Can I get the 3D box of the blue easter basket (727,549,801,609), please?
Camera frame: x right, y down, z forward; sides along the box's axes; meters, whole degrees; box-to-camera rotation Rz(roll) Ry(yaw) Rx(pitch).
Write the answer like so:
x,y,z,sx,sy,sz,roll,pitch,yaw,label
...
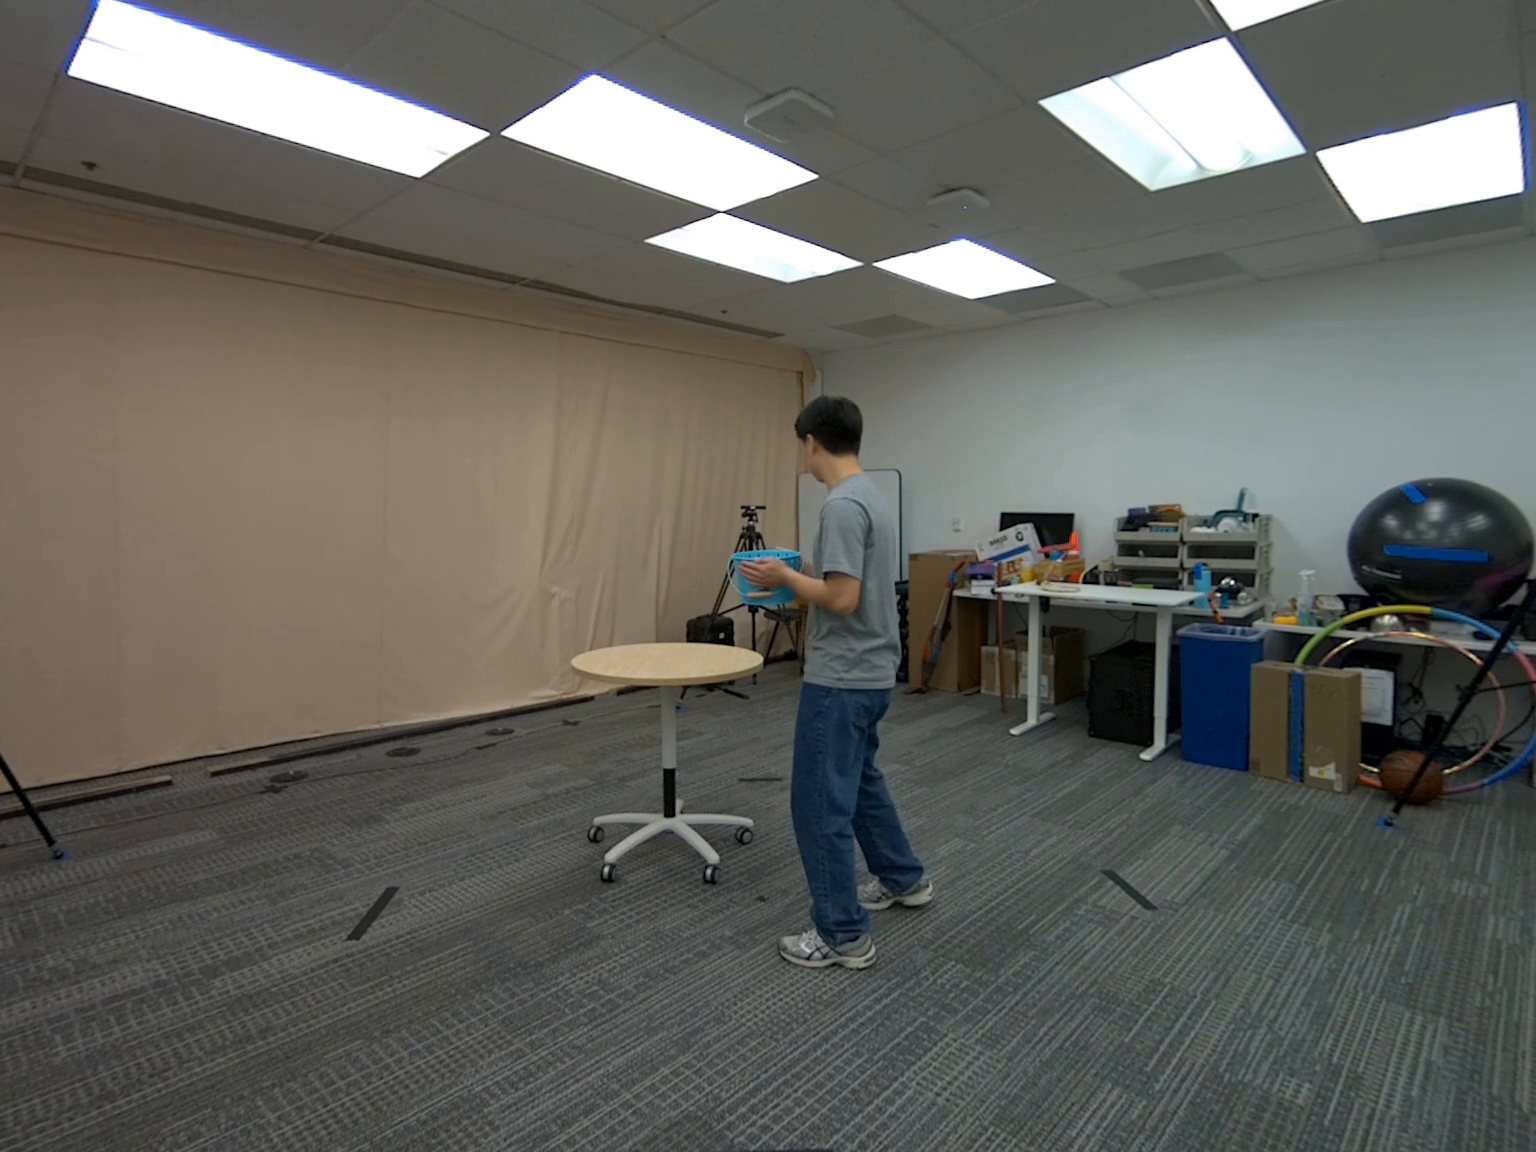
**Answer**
x,y,z,sx,sy,sz,roll,pitch,yaw,label
0.018,0.010,2.759,0.243,0.155,0.245,-1,6,-2,blue easter basket
